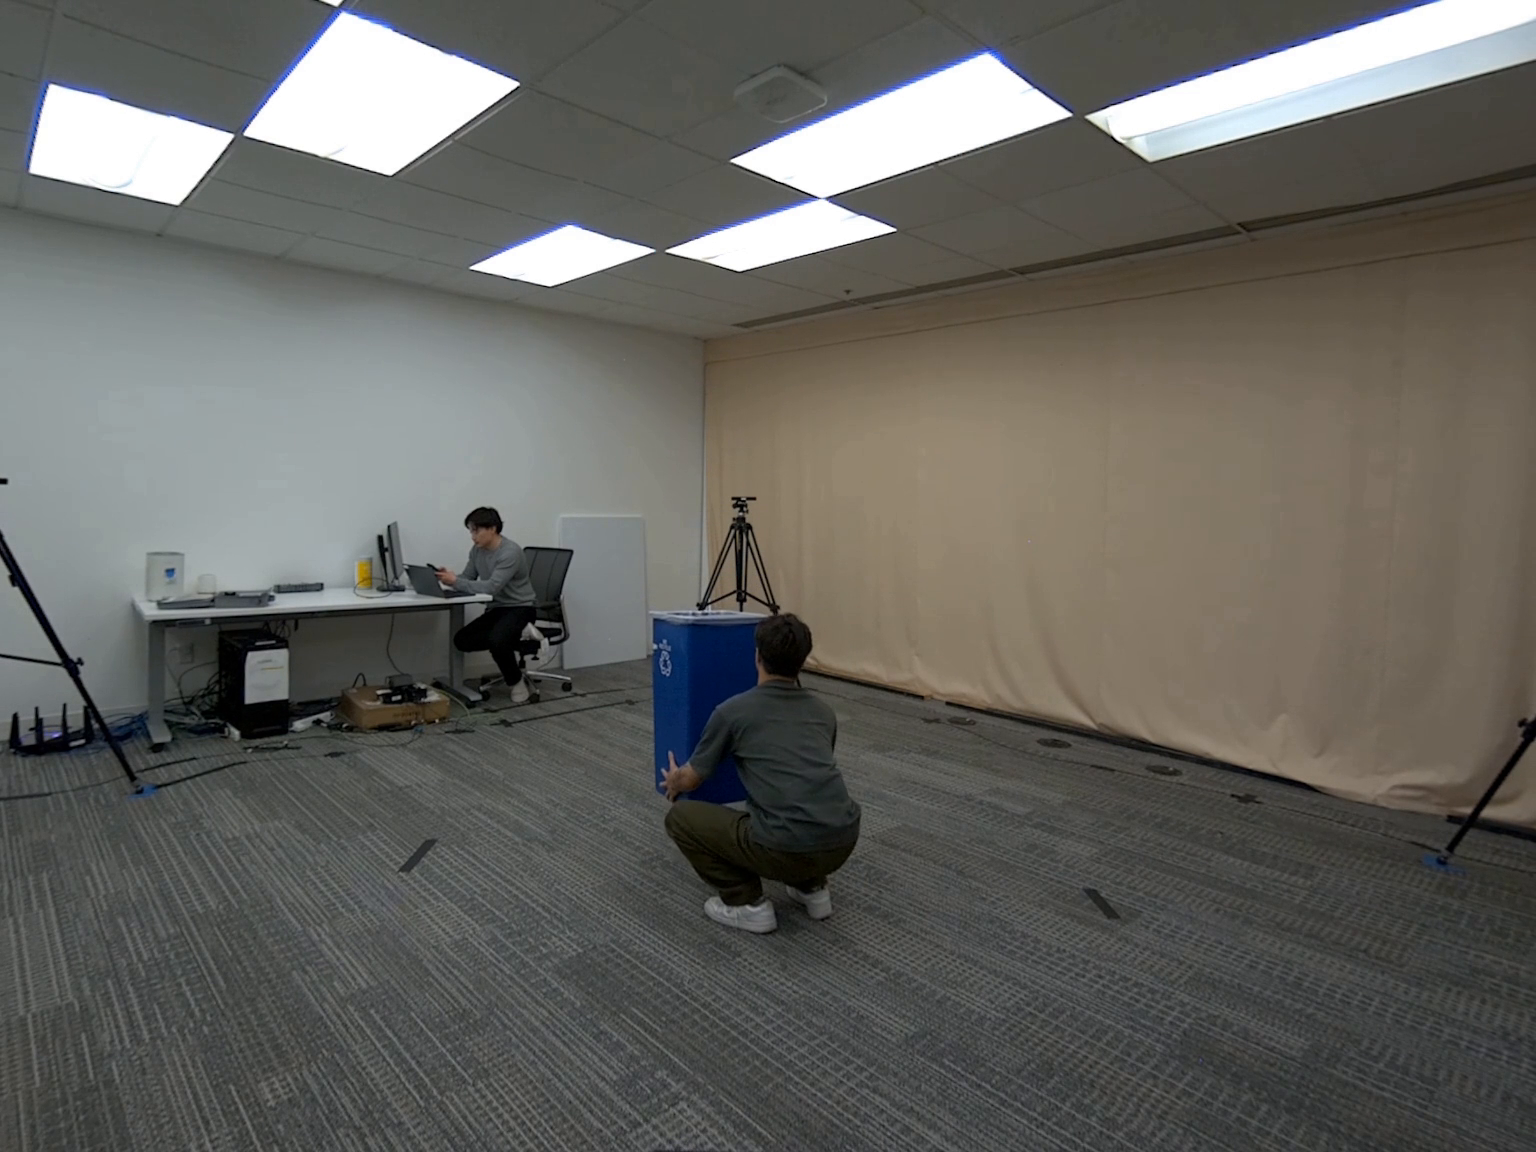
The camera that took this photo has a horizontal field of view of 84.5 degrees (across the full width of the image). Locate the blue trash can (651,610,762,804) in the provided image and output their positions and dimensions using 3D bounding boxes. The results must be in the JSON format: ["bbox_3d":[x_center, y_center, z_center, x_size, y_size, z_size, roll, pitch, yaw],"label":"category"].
[{"bbox_3d":[-0.252,0.505,3.315,0.366,0.714,0.385,1,-1,-30],"label":"blue trash can"}]
